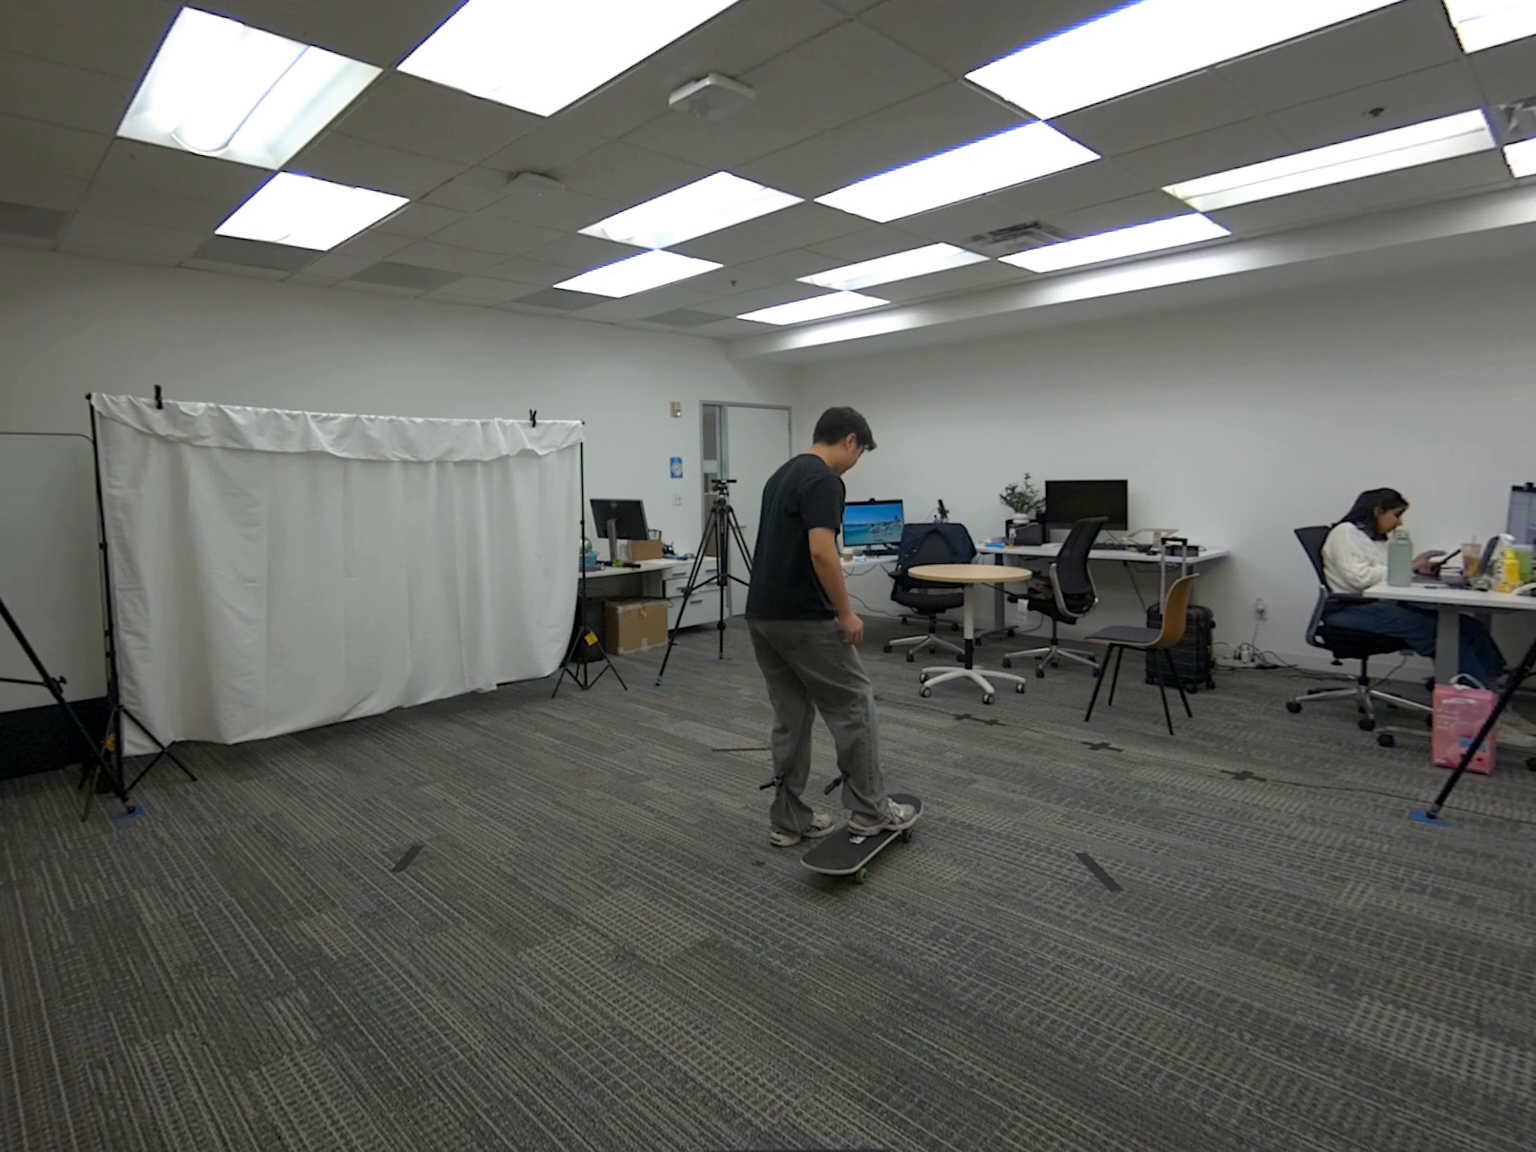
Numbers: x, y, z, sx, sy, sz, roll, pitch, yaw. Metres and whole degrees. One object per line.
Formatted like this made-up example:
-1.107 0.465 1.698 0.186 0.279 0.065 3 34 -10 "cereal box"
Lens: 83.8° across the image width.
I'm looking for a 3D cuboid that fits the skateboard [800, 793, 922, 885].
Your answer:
0.367 0.979 3.156 0.199 0.110 0.768 4 8 32 "skateboard"
